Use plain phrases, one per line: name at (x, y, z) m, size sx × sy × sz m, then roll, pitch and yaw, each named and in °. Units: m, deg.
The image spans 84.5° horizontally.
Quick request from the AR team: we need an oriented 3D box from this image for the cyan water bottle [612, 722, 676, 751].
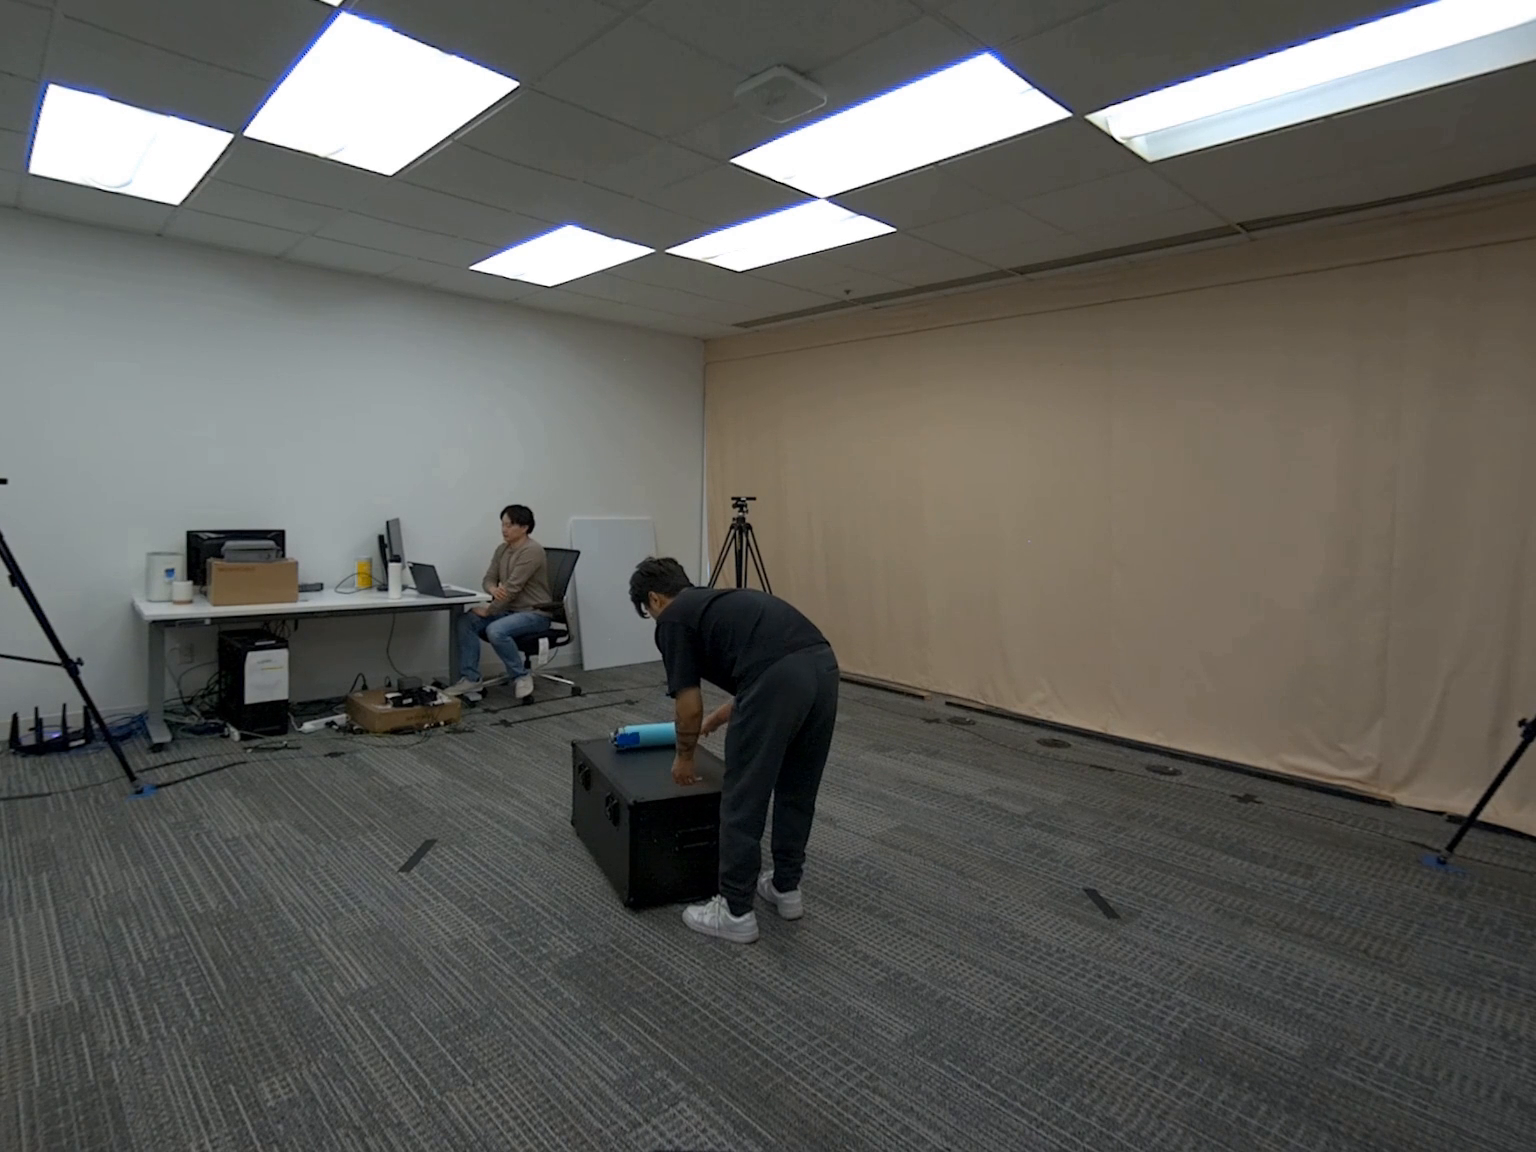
cyan water bottle at (-0.509, 0.647, 3.425) m, size 0.279 × 0.092 × 0.094 m, roll -1°, pitch 5°, yaw -20°
